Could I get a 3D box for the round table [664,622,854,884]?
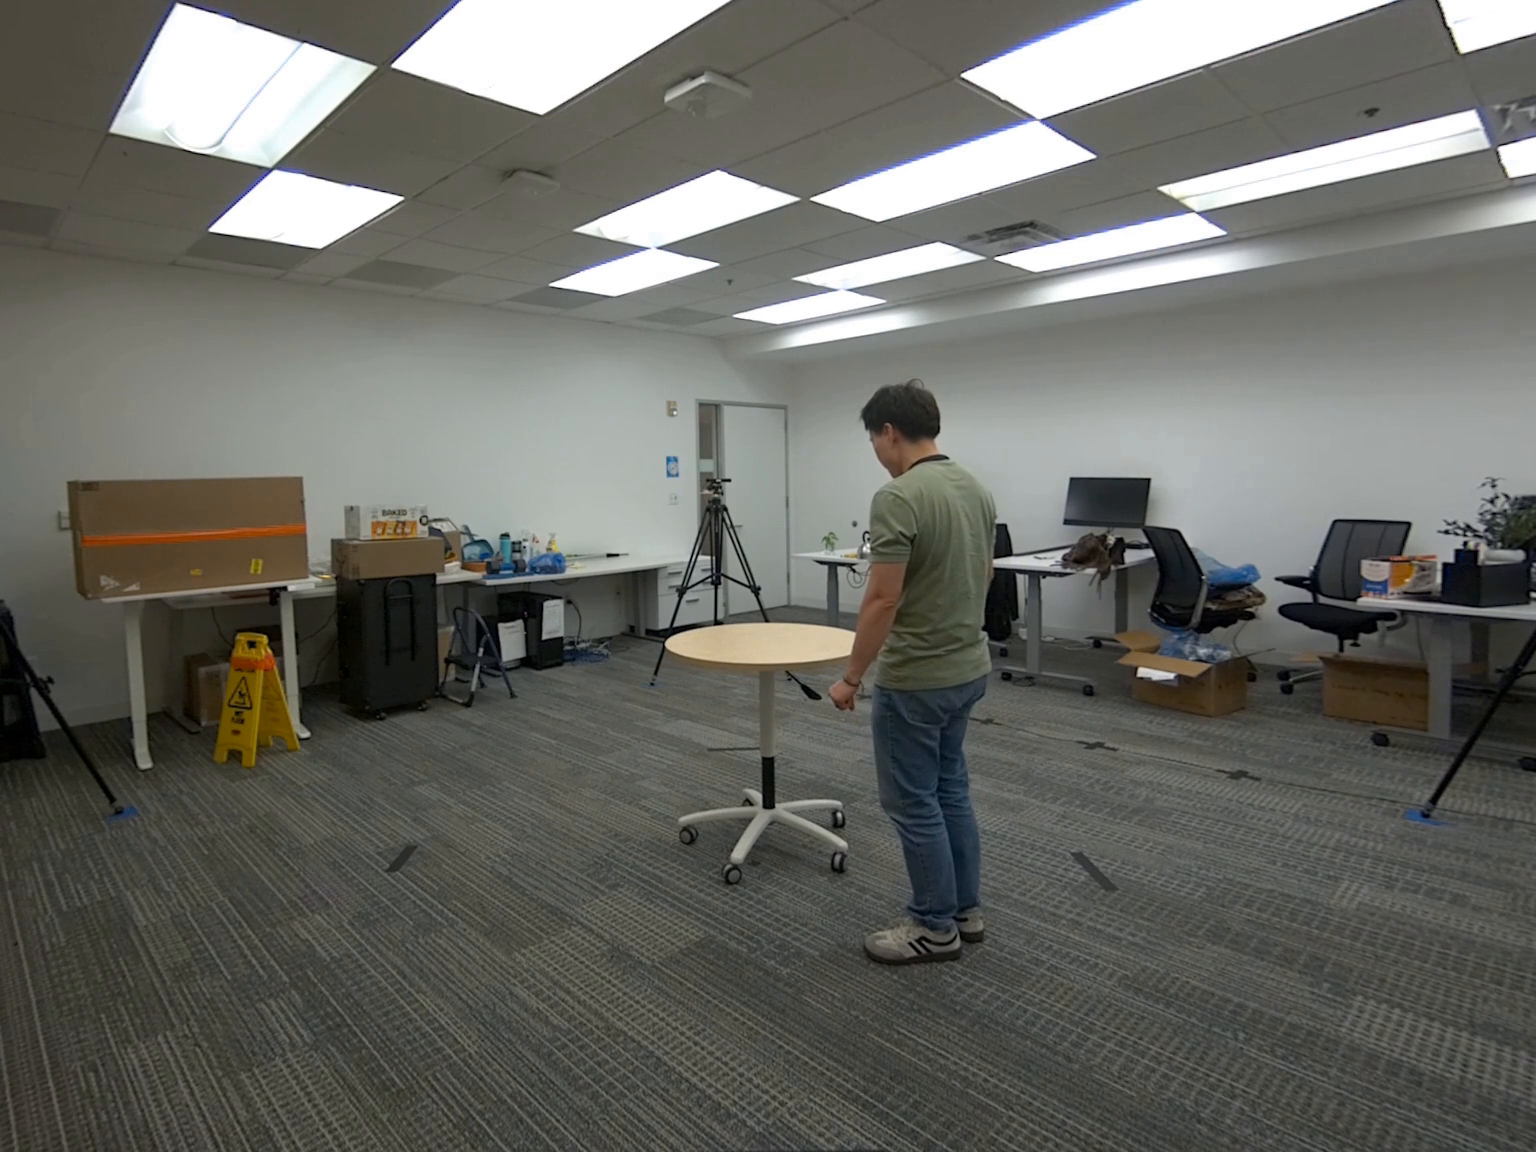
[{"bbox_3d":[-0.004,0.638,3.248,0.763,0.791,0.768,-1,5,-2],"label":"round table"}]
